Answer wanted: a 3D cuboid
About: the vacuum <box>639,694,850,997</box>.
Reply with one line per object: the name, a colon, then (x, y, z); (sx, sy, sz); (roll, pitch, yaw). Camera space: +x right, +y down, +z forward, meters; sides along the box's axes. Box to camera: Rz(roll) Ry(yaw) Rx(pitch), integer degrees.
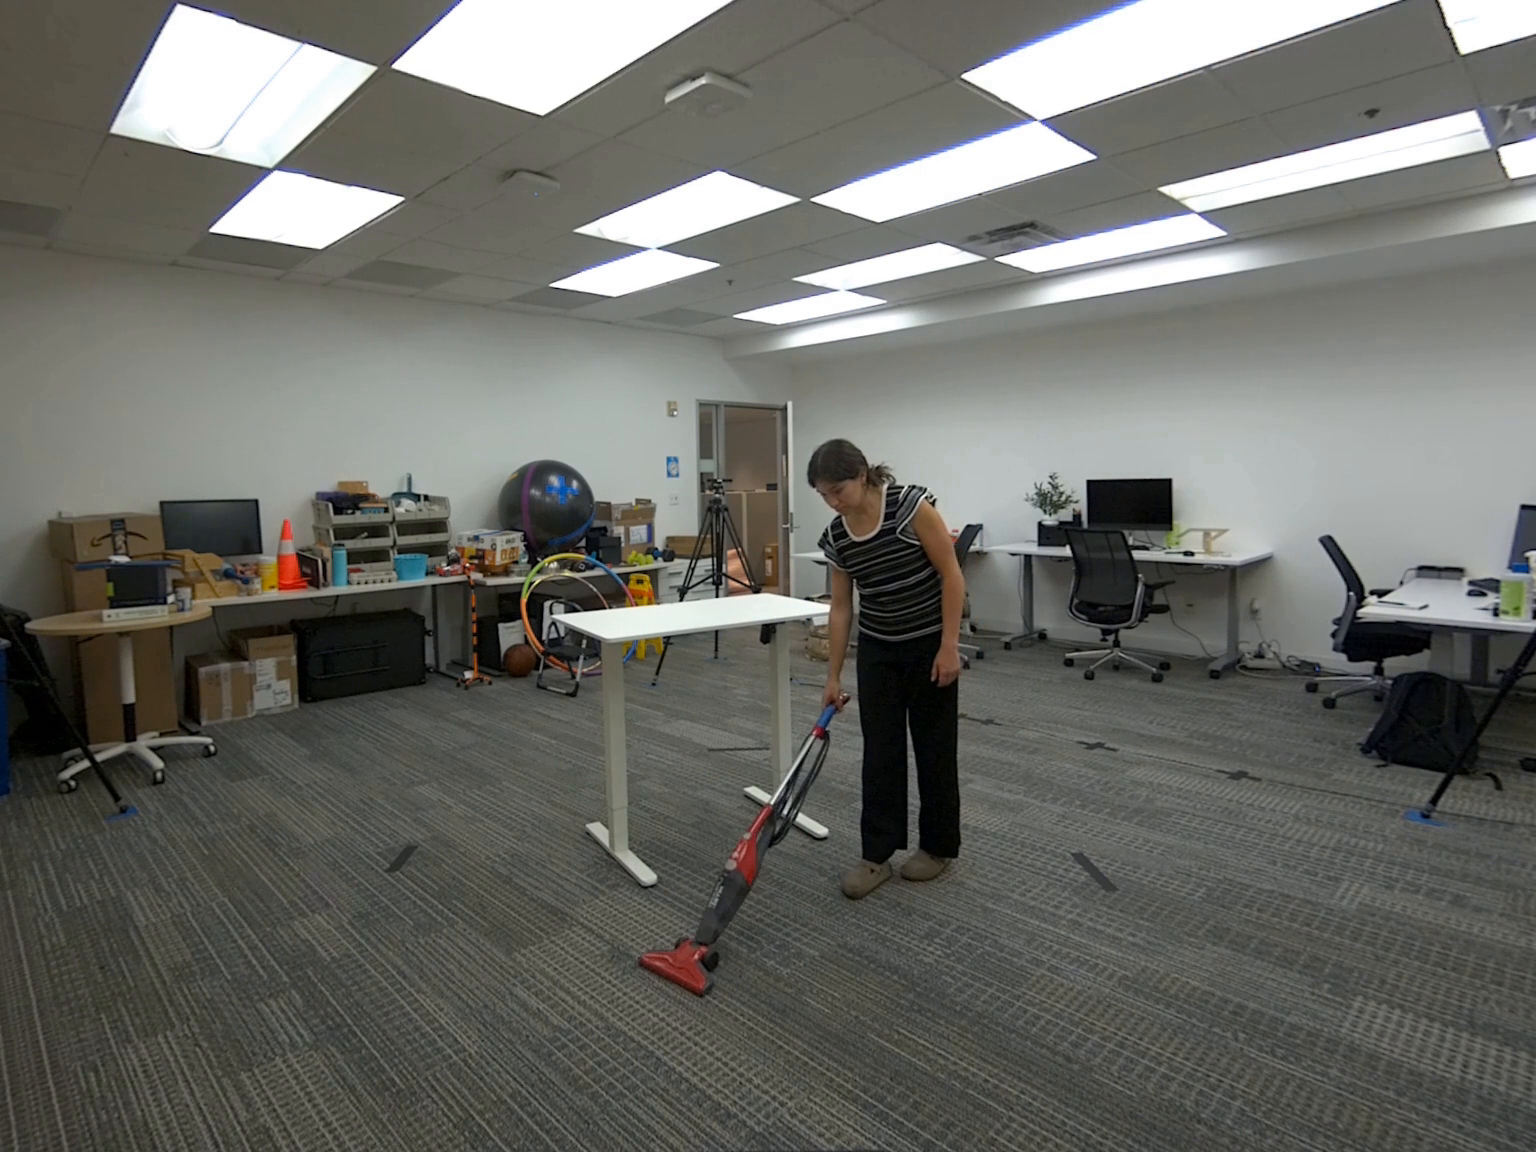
vacuum: (0.018, 0.791, 2.730); (0.260, 0.139, 1.051); (3, 41, 38)
